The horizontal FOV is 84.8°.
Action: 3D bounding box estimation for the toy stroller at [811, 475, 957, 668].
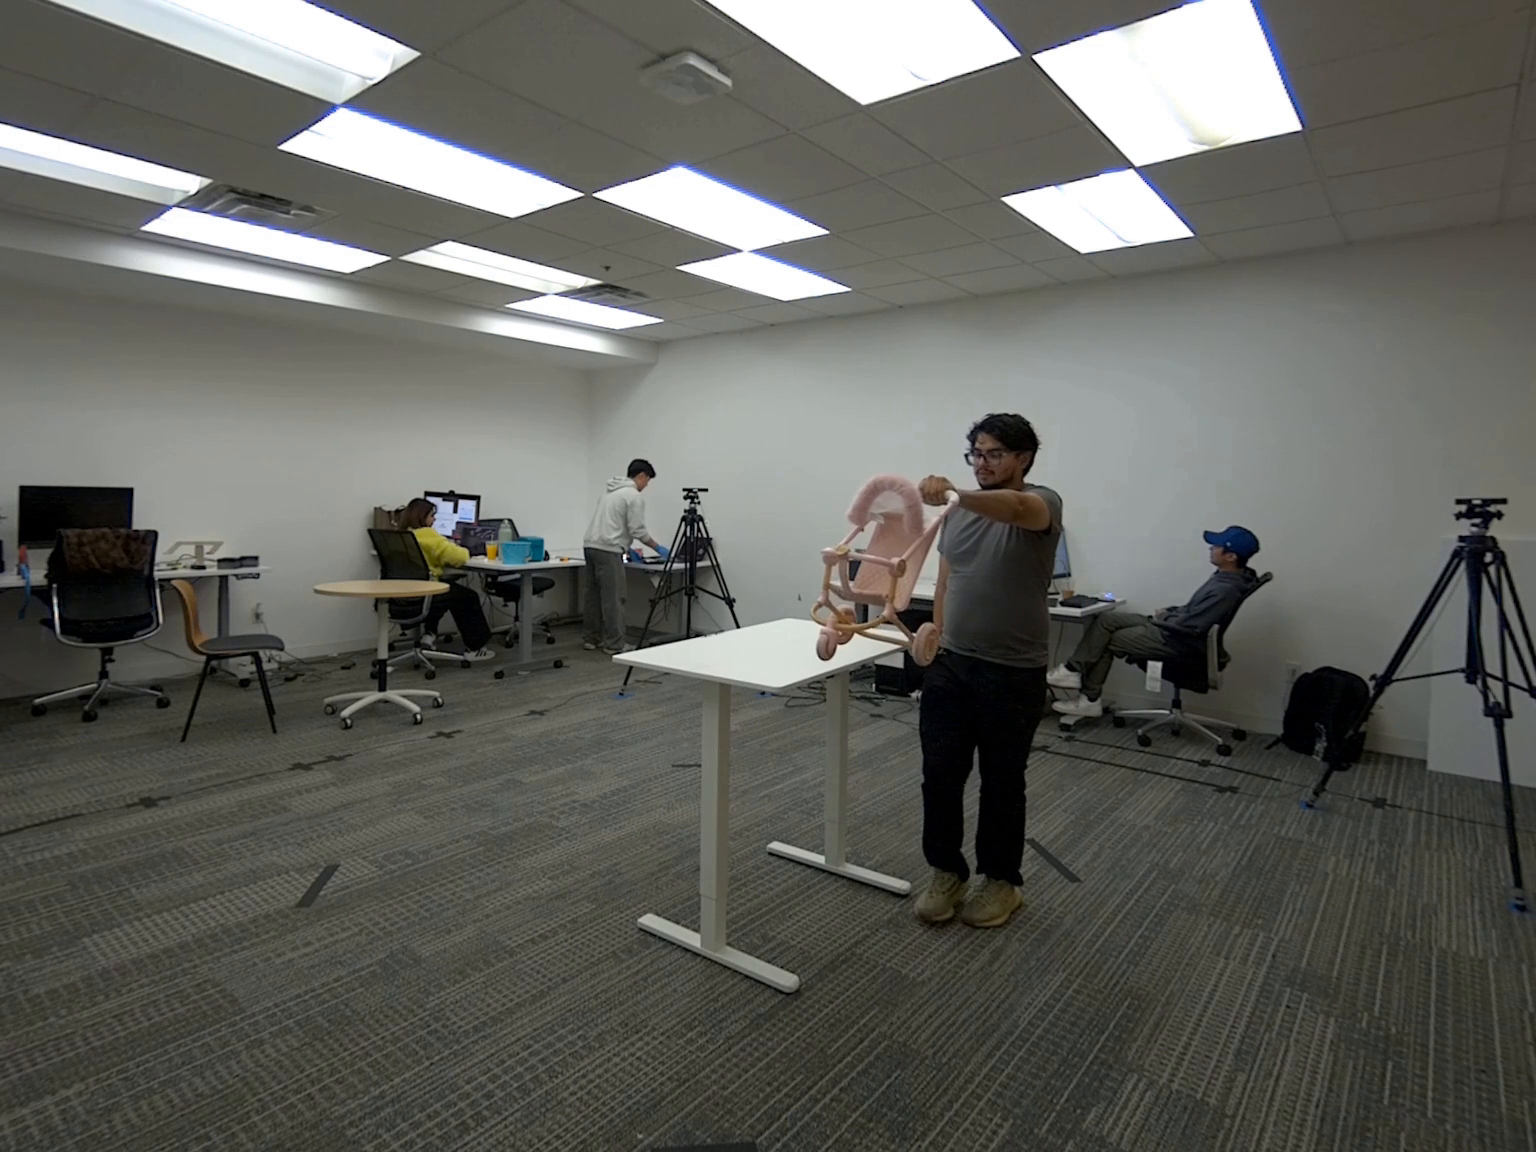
[{"bbox_3d":[0.272,-0.020,2.154,0.292,0.537,0.328,9,-9,44],"label":"toy stroller"}]
